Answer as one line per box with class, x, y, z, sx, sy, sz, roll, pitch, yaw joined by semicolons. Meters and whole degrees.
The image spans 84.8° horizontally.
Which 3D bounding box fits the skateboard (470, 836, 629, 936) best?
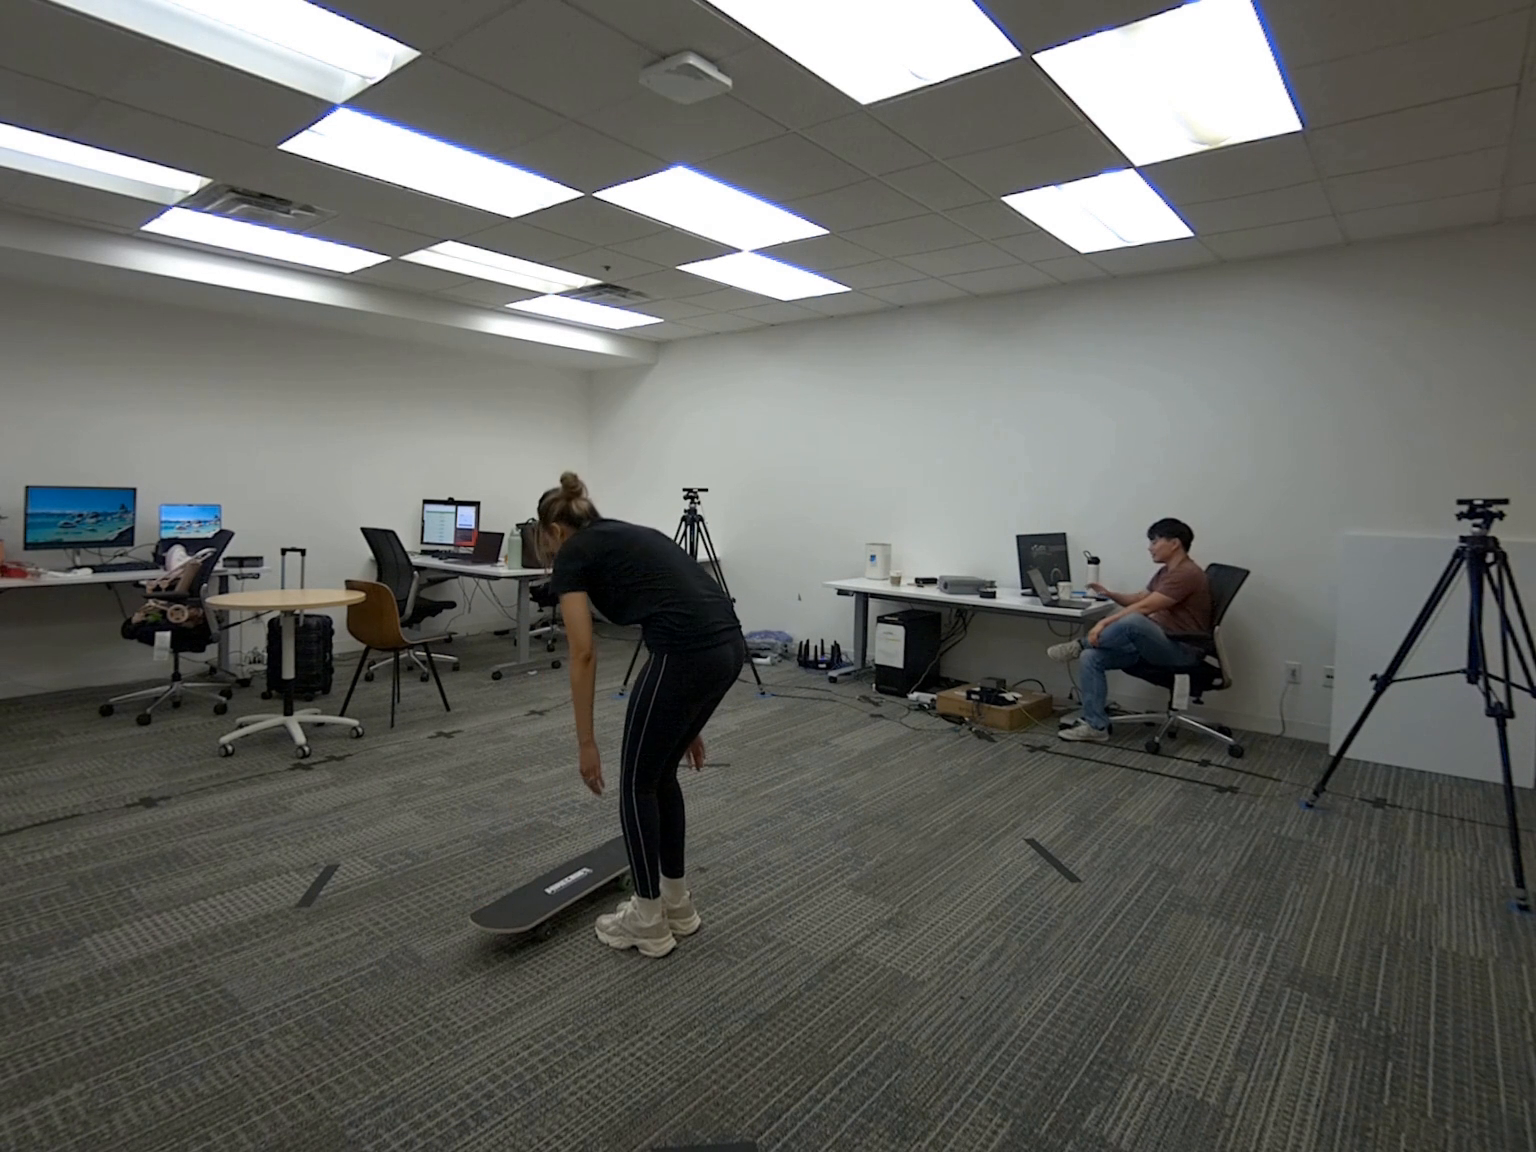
skateboard;-0.666;1.034;2.812;0.199;0.110;0.766;4;7;29
